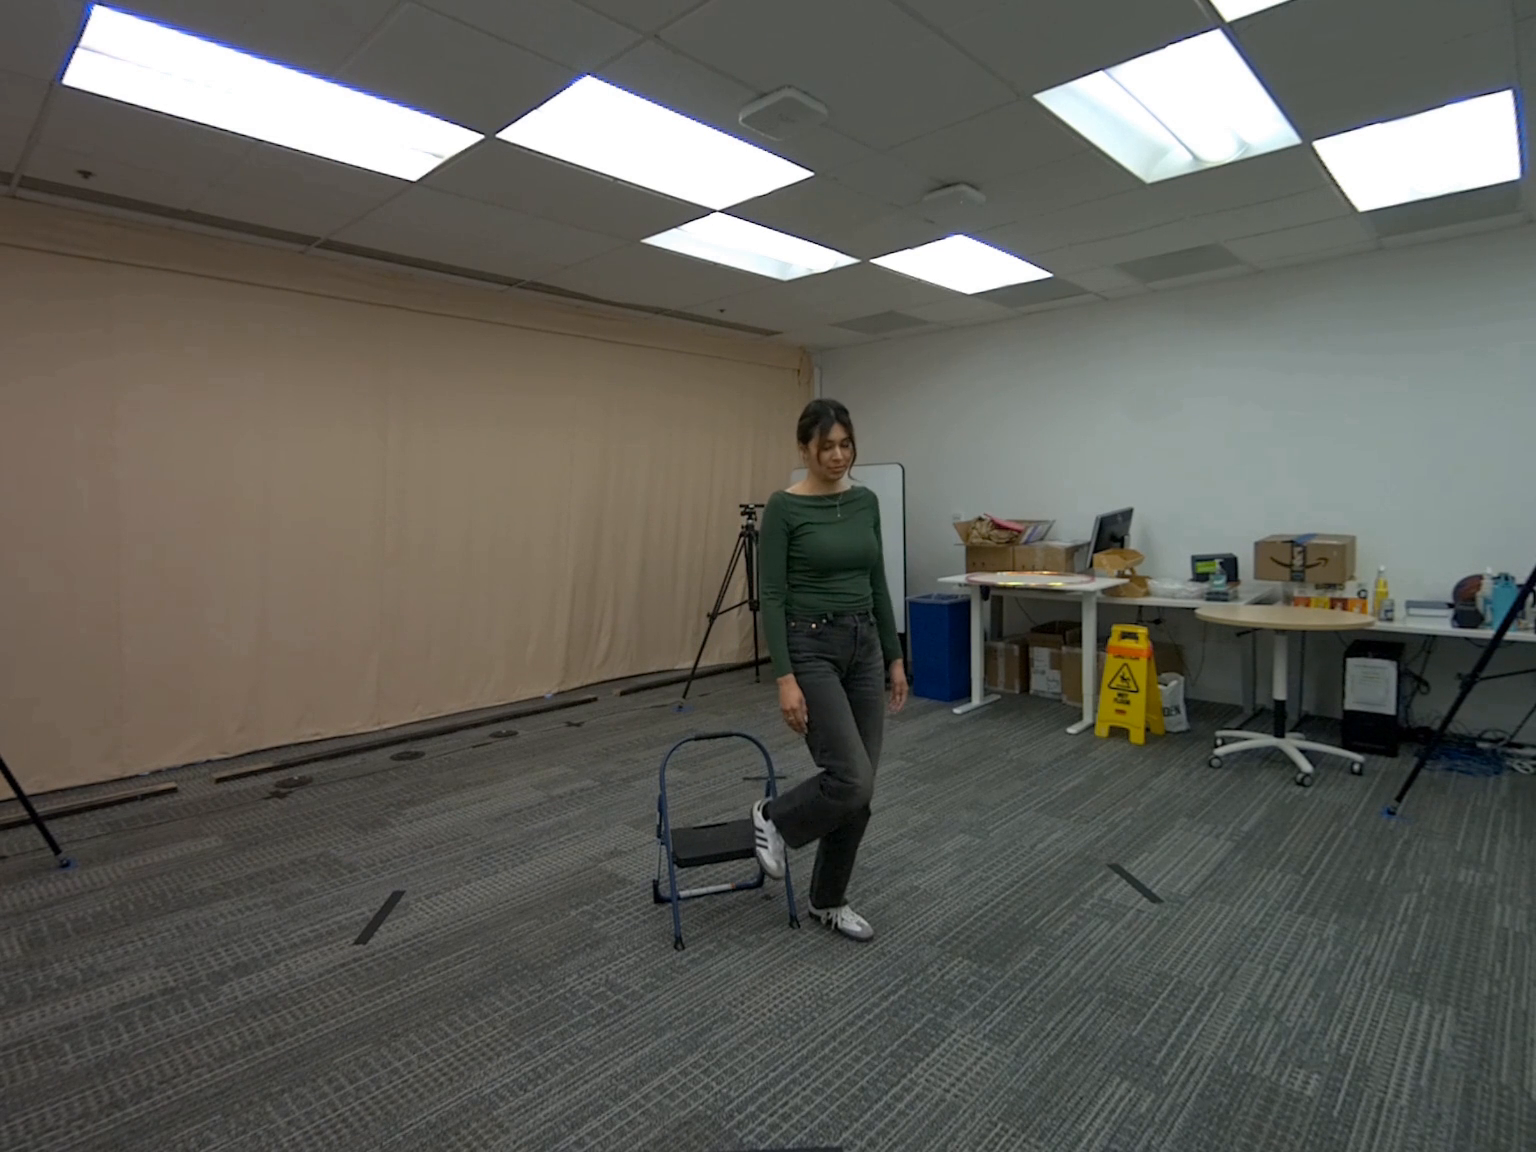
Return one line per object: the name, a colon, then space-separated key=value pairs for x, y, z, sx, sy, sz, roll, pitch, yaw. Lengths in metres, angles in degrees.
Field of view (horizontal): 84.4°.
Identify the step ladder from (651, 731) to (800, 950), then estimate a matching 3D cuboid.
step ladder: x=-0.157 y=0.850 z=2.855 sx=0.422 sy=0.605 sz=0.356 roll=-2 pitch=3 yaw=-19
